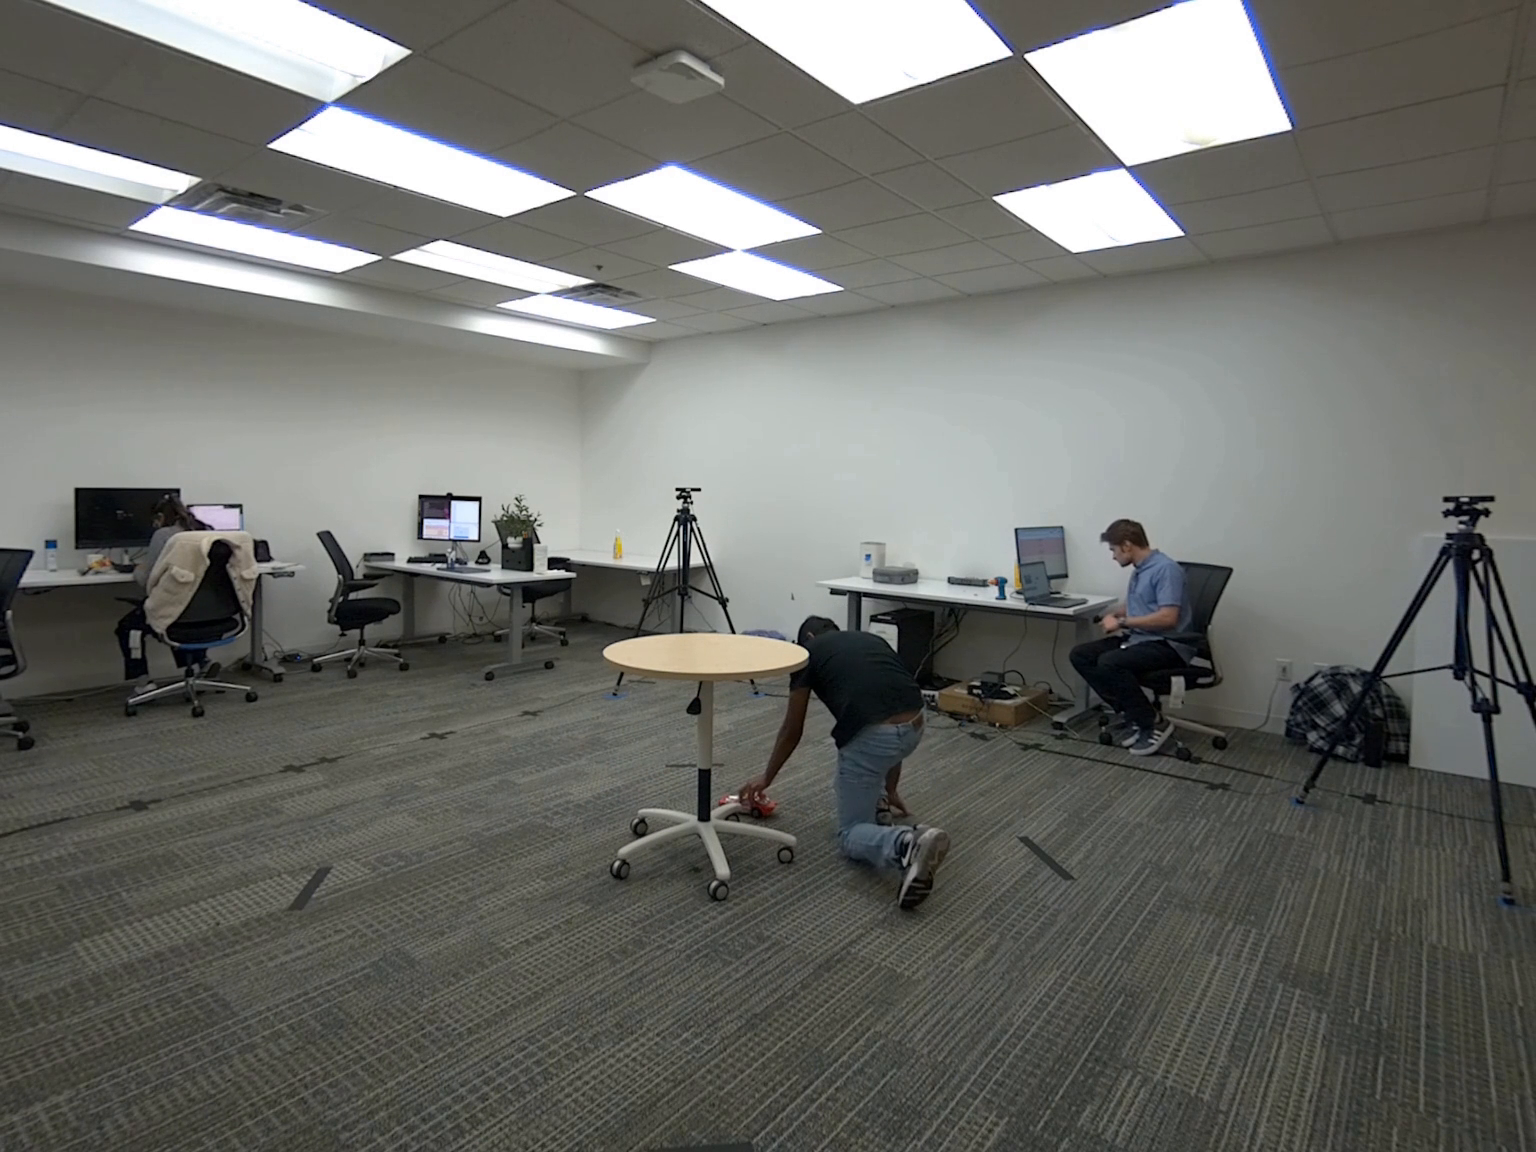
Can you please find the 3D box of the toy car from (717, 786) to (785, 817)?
[{"bbox_3d":[-0.075,0.980,3.662,0.259,0.083,0.128,-8,0,21],"label":"toy car"}]
